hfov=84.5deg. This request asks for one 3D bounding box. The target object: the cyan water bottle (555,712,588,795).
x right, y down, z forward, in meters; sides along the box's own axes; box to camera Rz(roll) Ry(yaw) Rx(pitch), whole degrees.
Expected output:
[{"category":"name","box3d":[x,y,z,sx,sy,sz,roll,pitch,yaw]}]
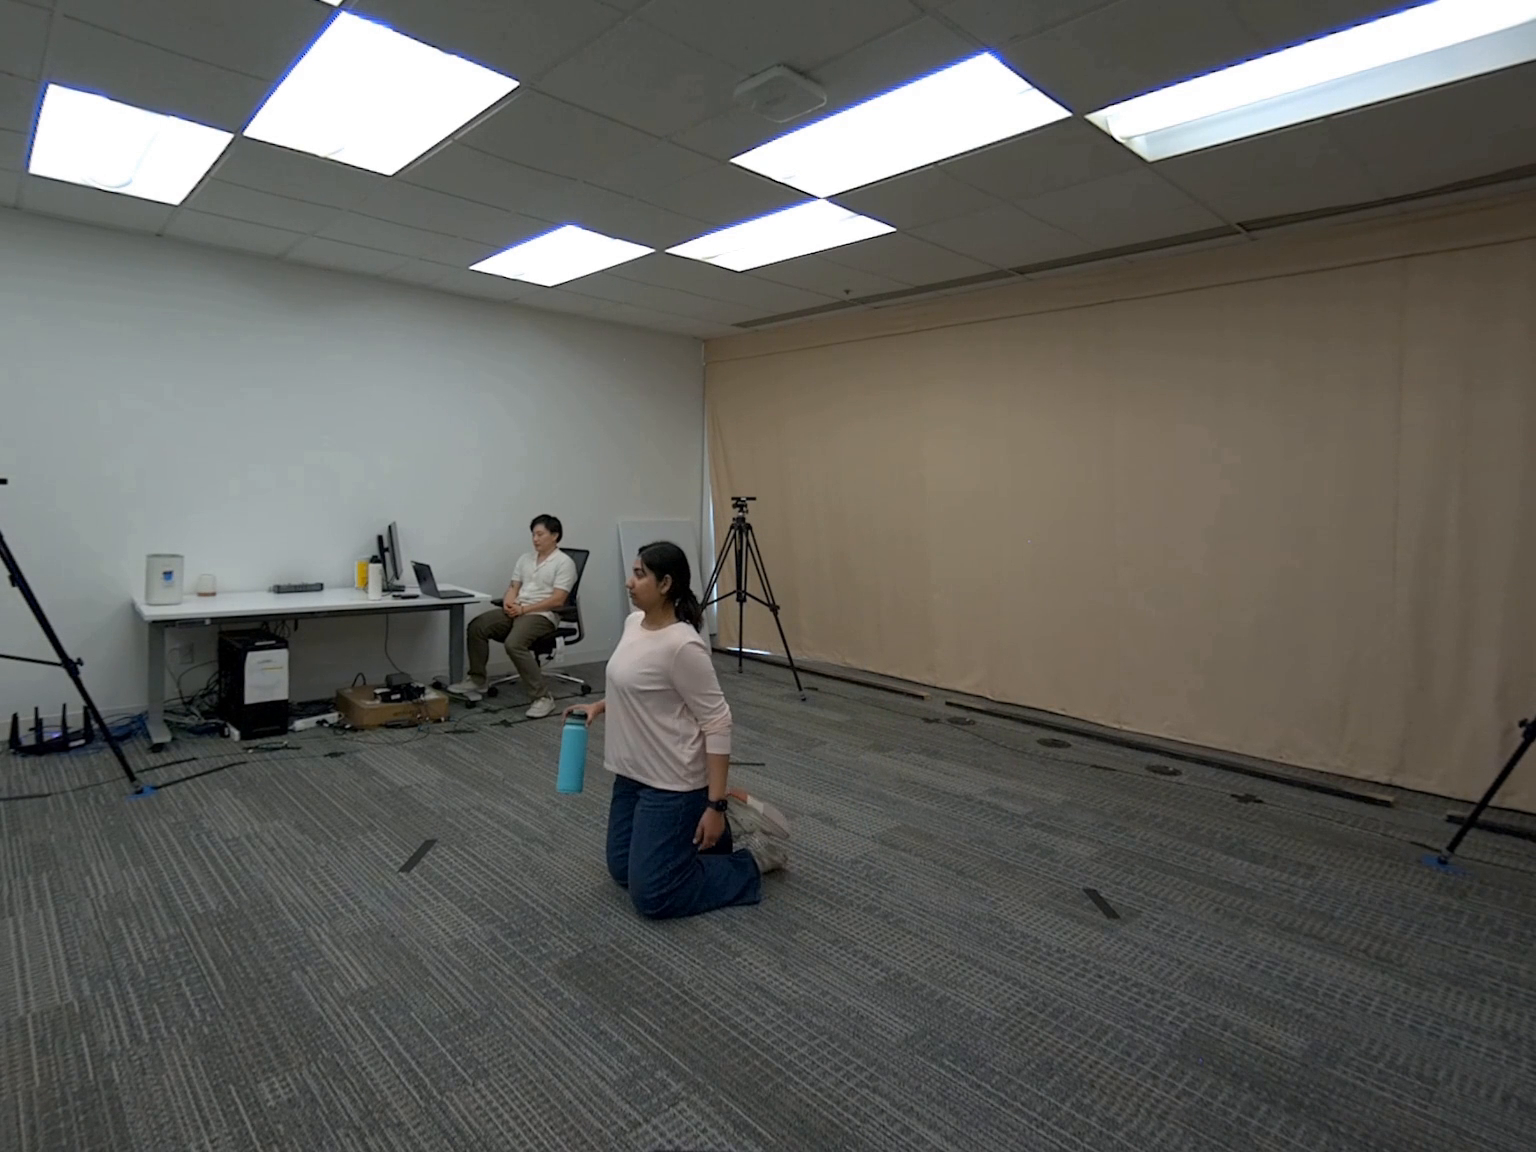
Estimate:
[{"category":"cyan water bottle","box3d":[-0.680,0.618,2.948,0.092,0.286,0.091,2,-13,-1]}]
